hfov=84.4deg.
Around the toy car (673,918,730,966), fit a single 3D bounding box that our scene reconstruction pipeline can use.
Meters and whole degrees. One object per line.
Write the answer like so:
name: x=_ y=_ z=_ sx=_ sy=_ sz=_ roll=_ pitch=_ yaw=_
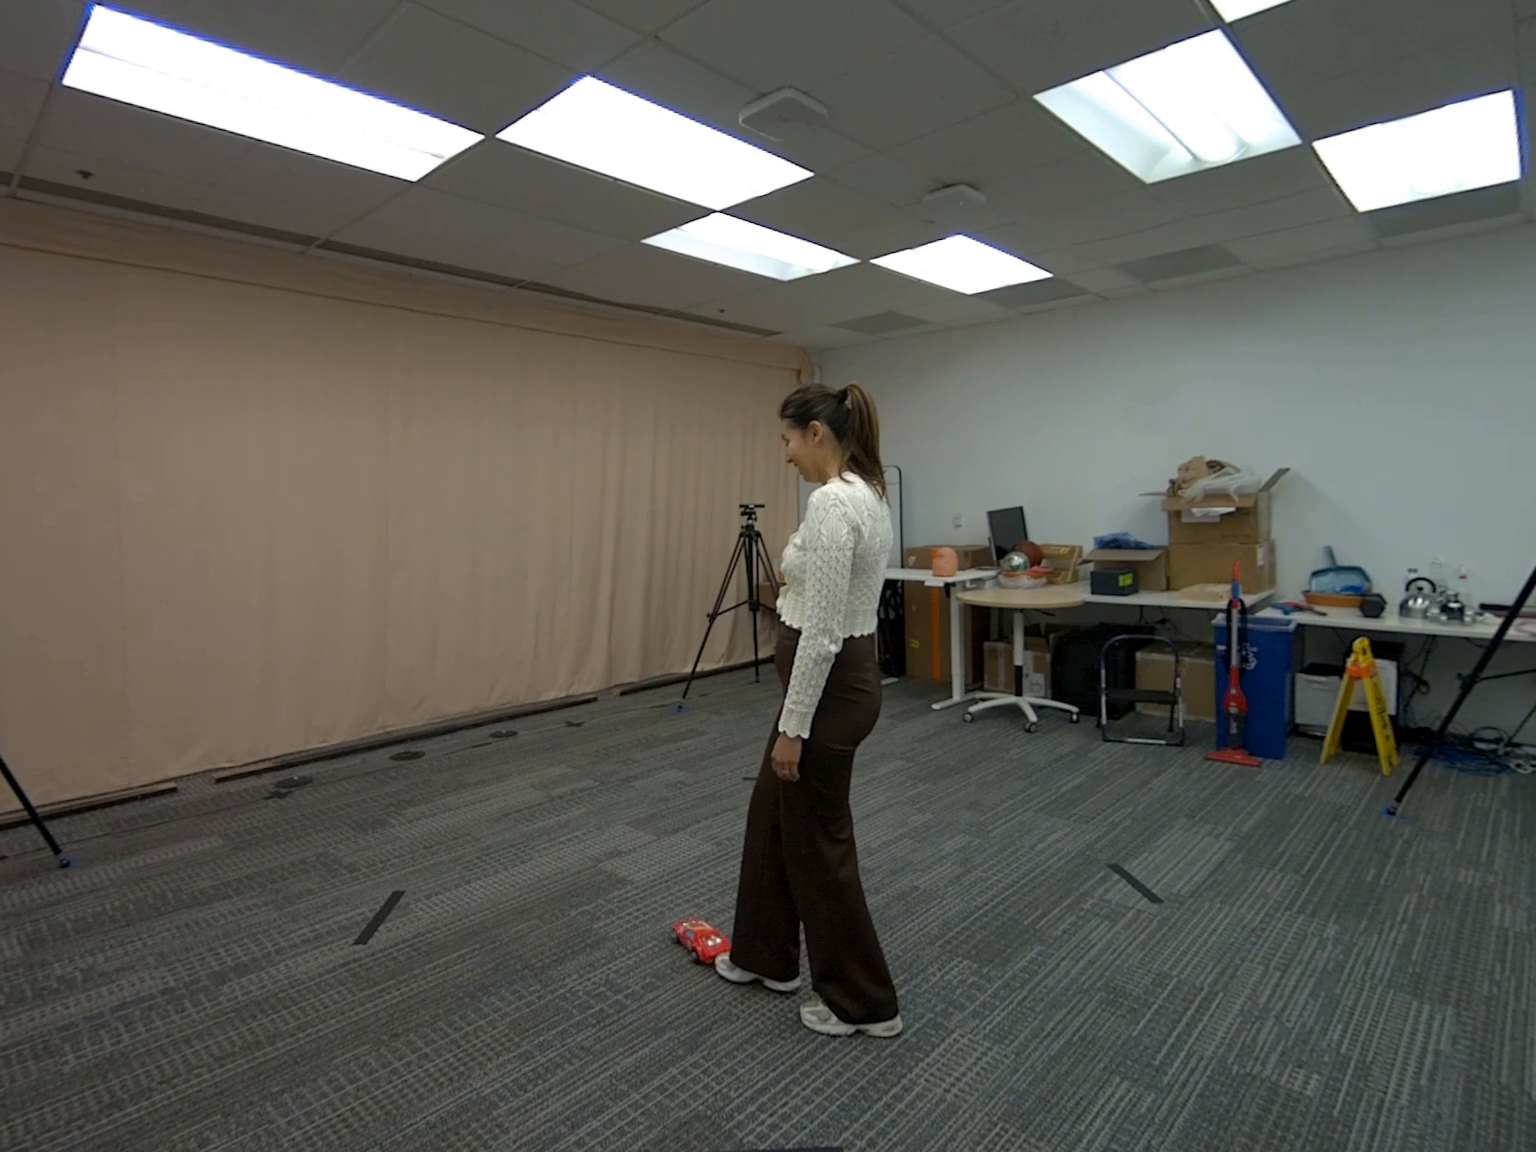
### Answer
toy car: x=-0.202 y=1.142 z=2.624 sx=0.127 sy=0.083 sz=0.260 roll=-4 pitch=-5 yaw=-31
